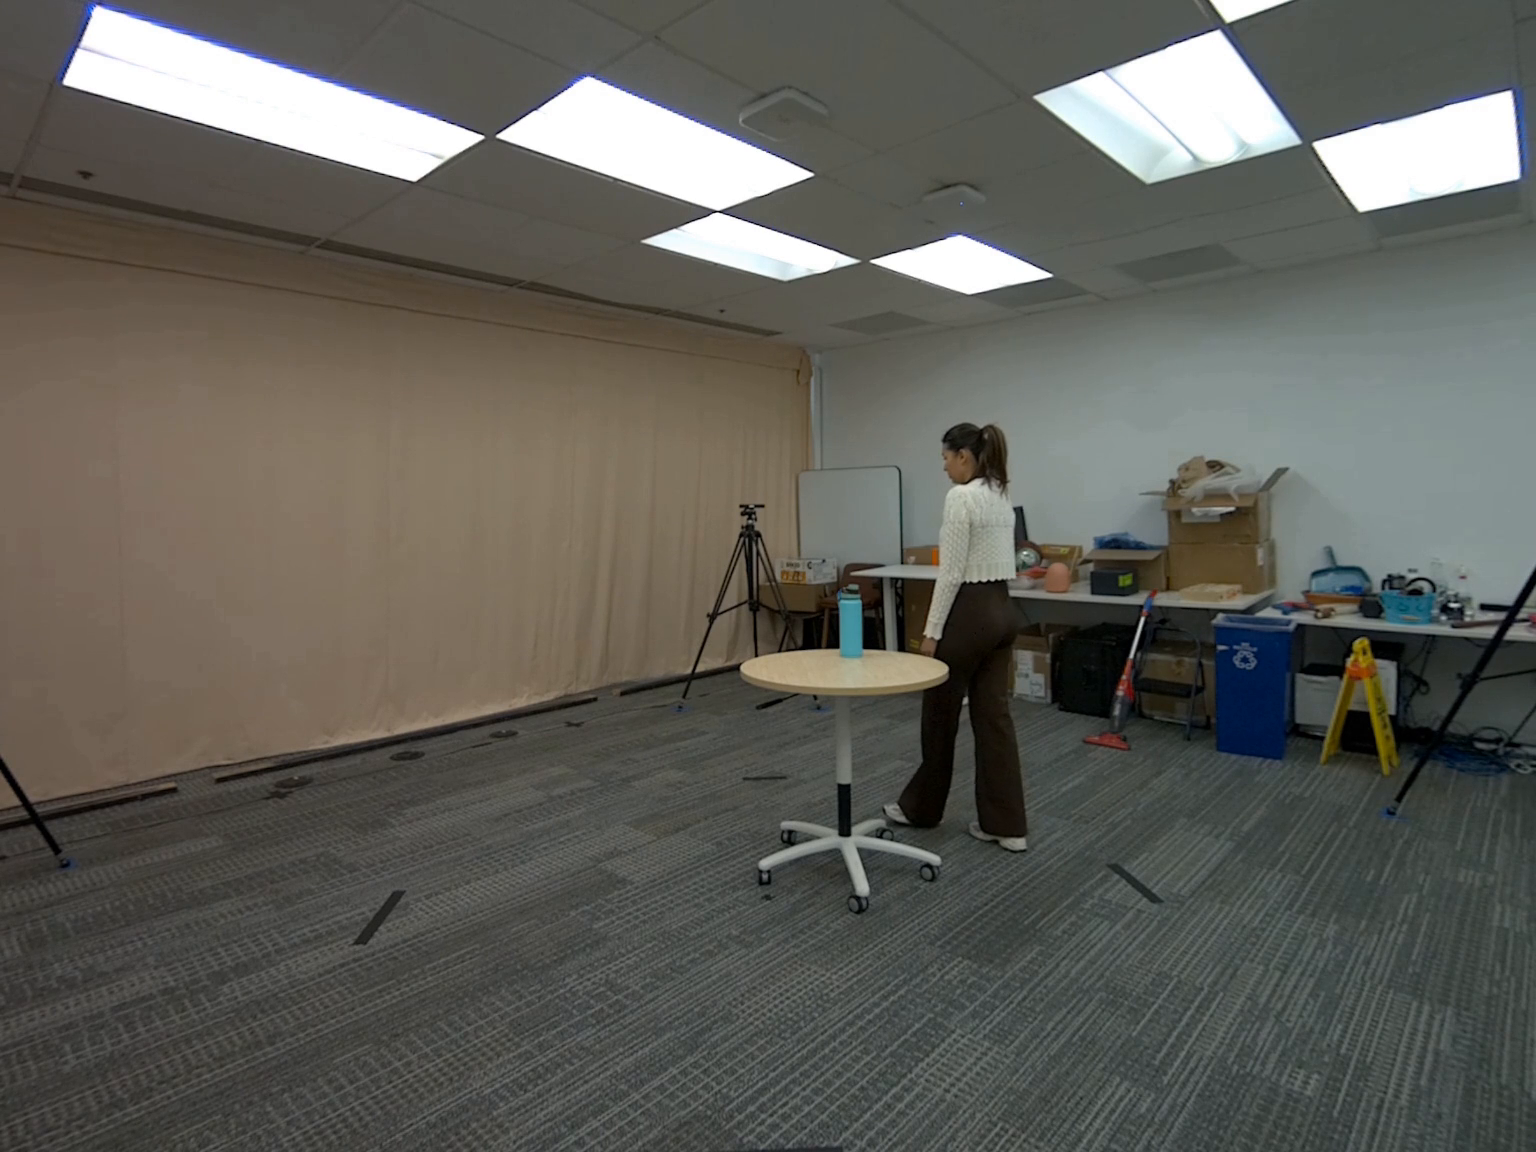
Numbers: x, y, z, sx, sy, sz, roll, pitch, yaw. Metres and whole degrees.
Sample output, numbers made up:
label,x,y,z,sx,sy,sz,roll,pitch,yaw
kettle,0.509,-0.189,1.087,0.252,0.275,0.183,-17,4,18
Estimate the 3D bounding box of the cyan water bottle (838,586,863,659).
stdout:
label,x,y,z,sx,sy,sz,roll,pitch,yaw
cyan water bottle,0.335,0.181,3.362,0.092,0.283,0.092,-3,1,-2
